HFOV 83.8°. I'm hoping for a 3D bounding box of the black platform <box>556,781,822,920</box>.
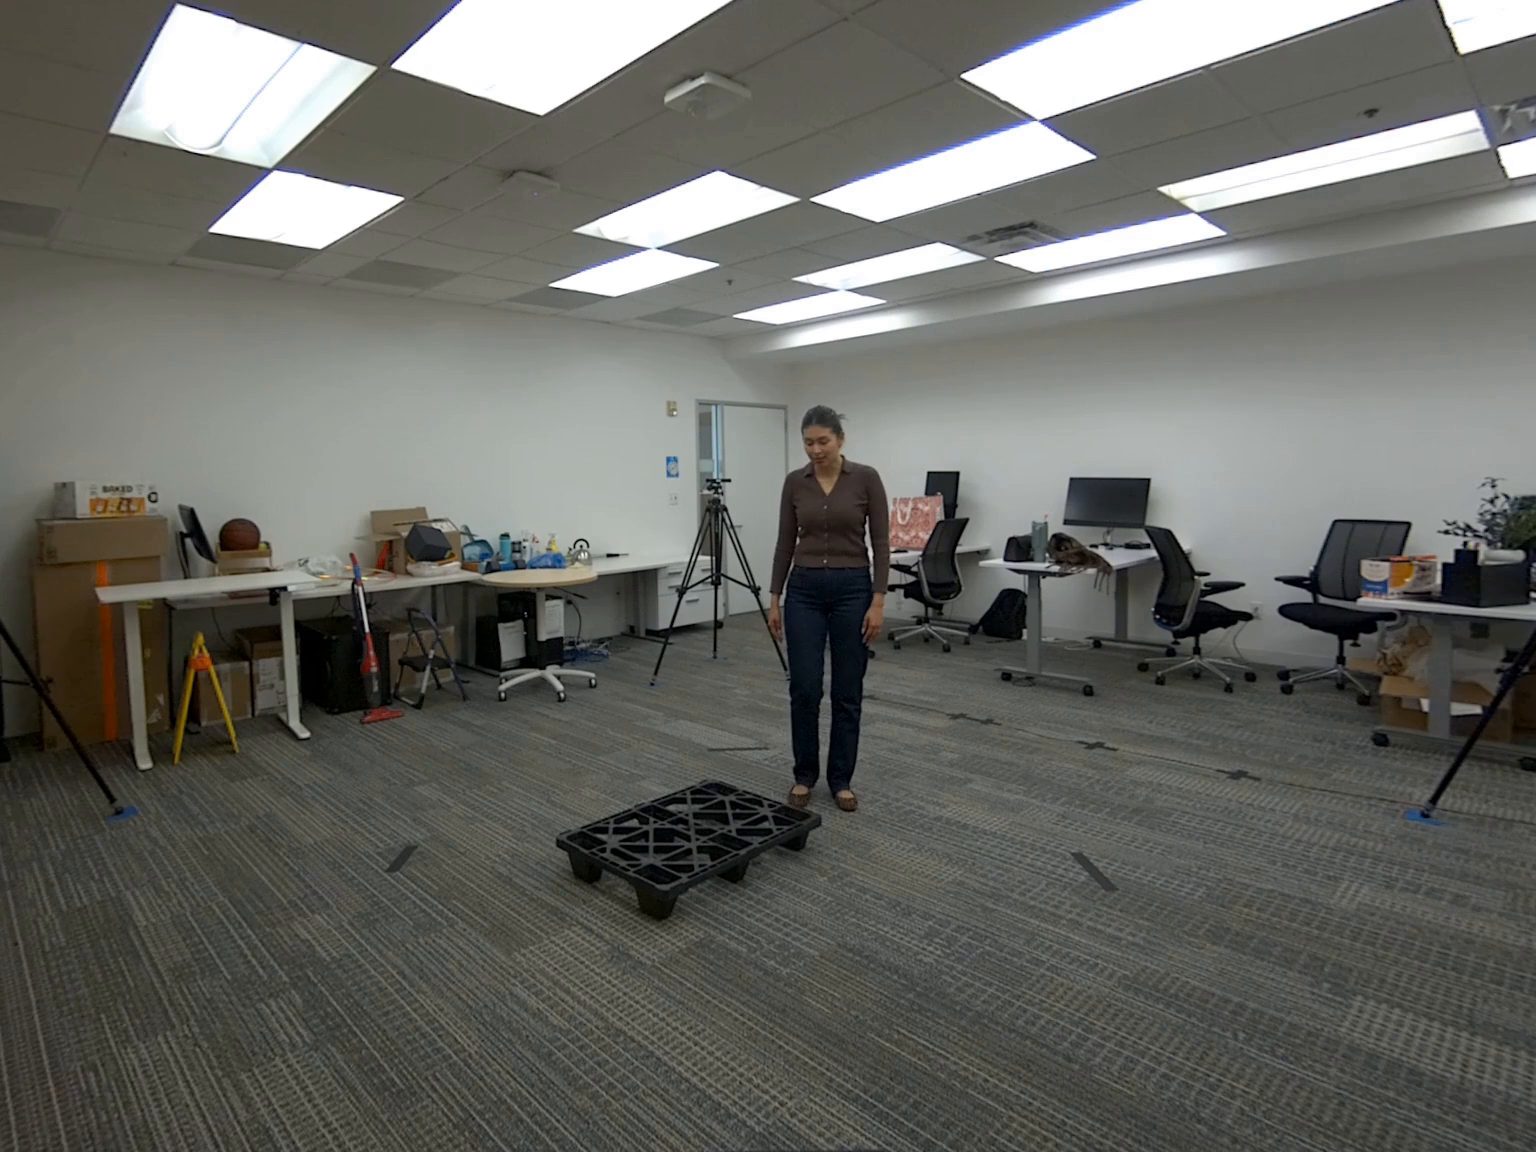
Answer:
[{"bbox_3d":[-0.269,0.979,3.130,0.624,0.142,0.785,6,10,42],"label":"black platform"}]
